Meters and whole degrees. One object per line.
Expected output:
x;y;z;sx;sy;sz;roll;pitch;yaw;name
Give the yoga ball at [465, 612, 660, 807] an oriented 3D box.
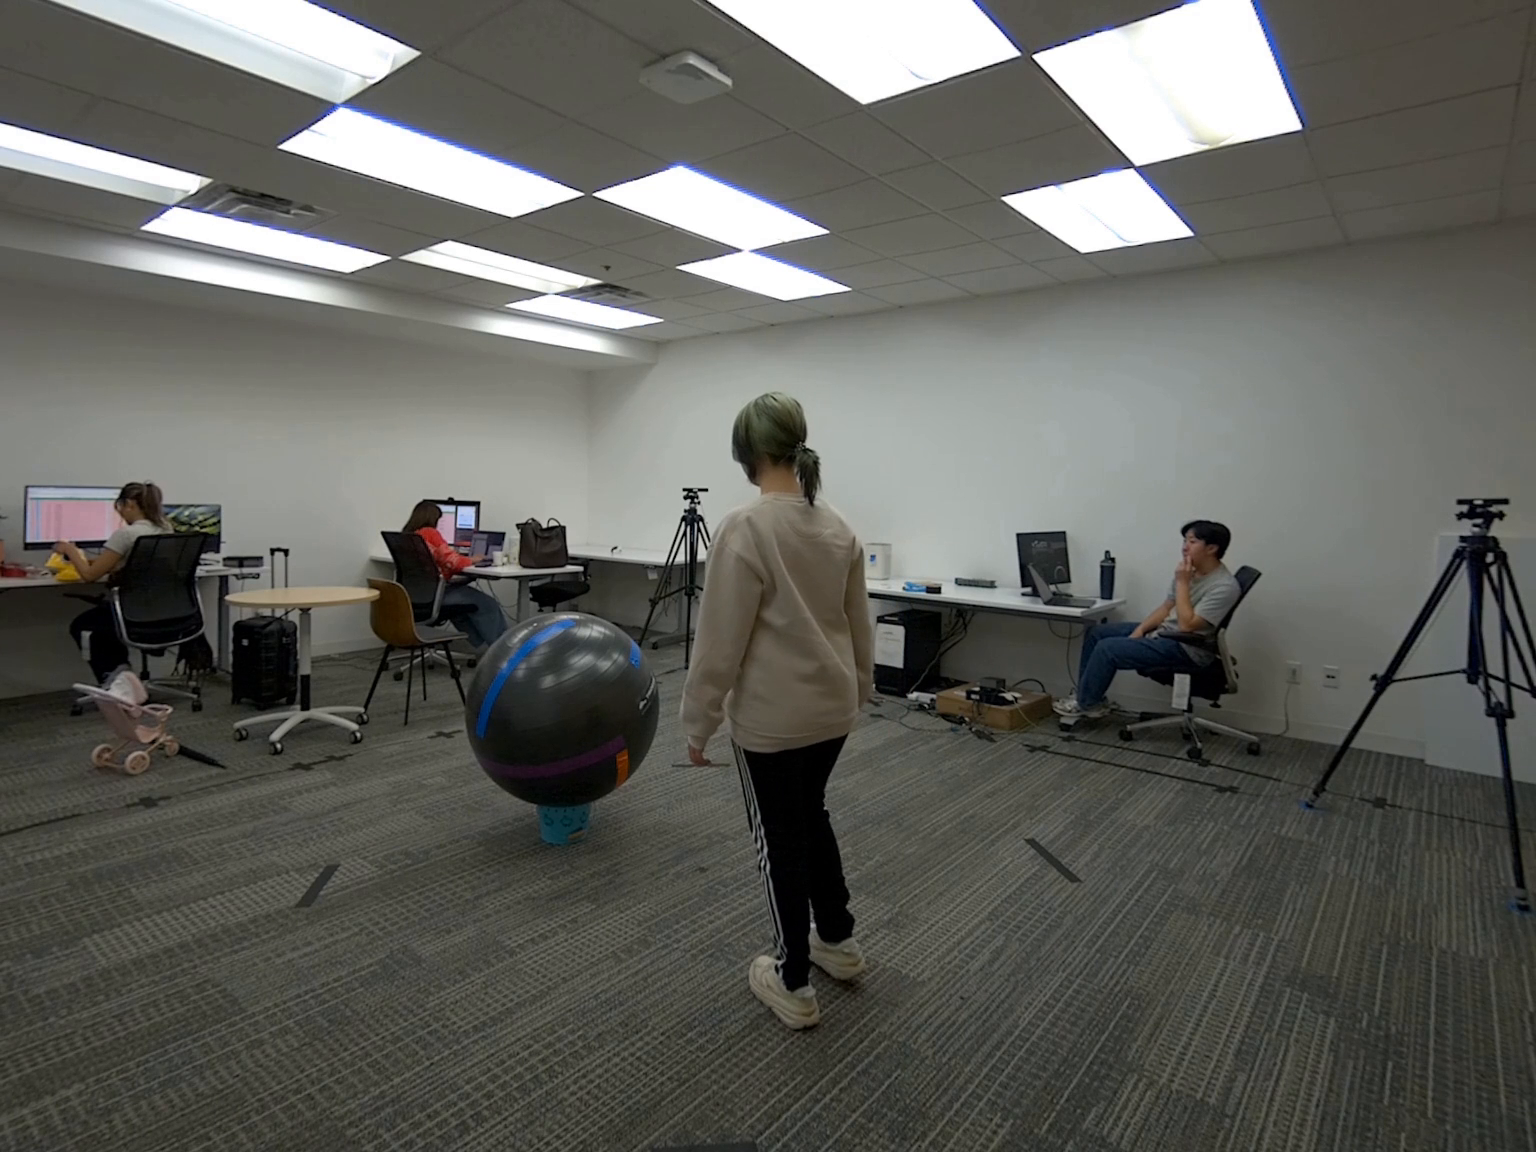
-0.817;0.522;3.369;0.757;0.755;0.762;1;4;-2;yoga ball
